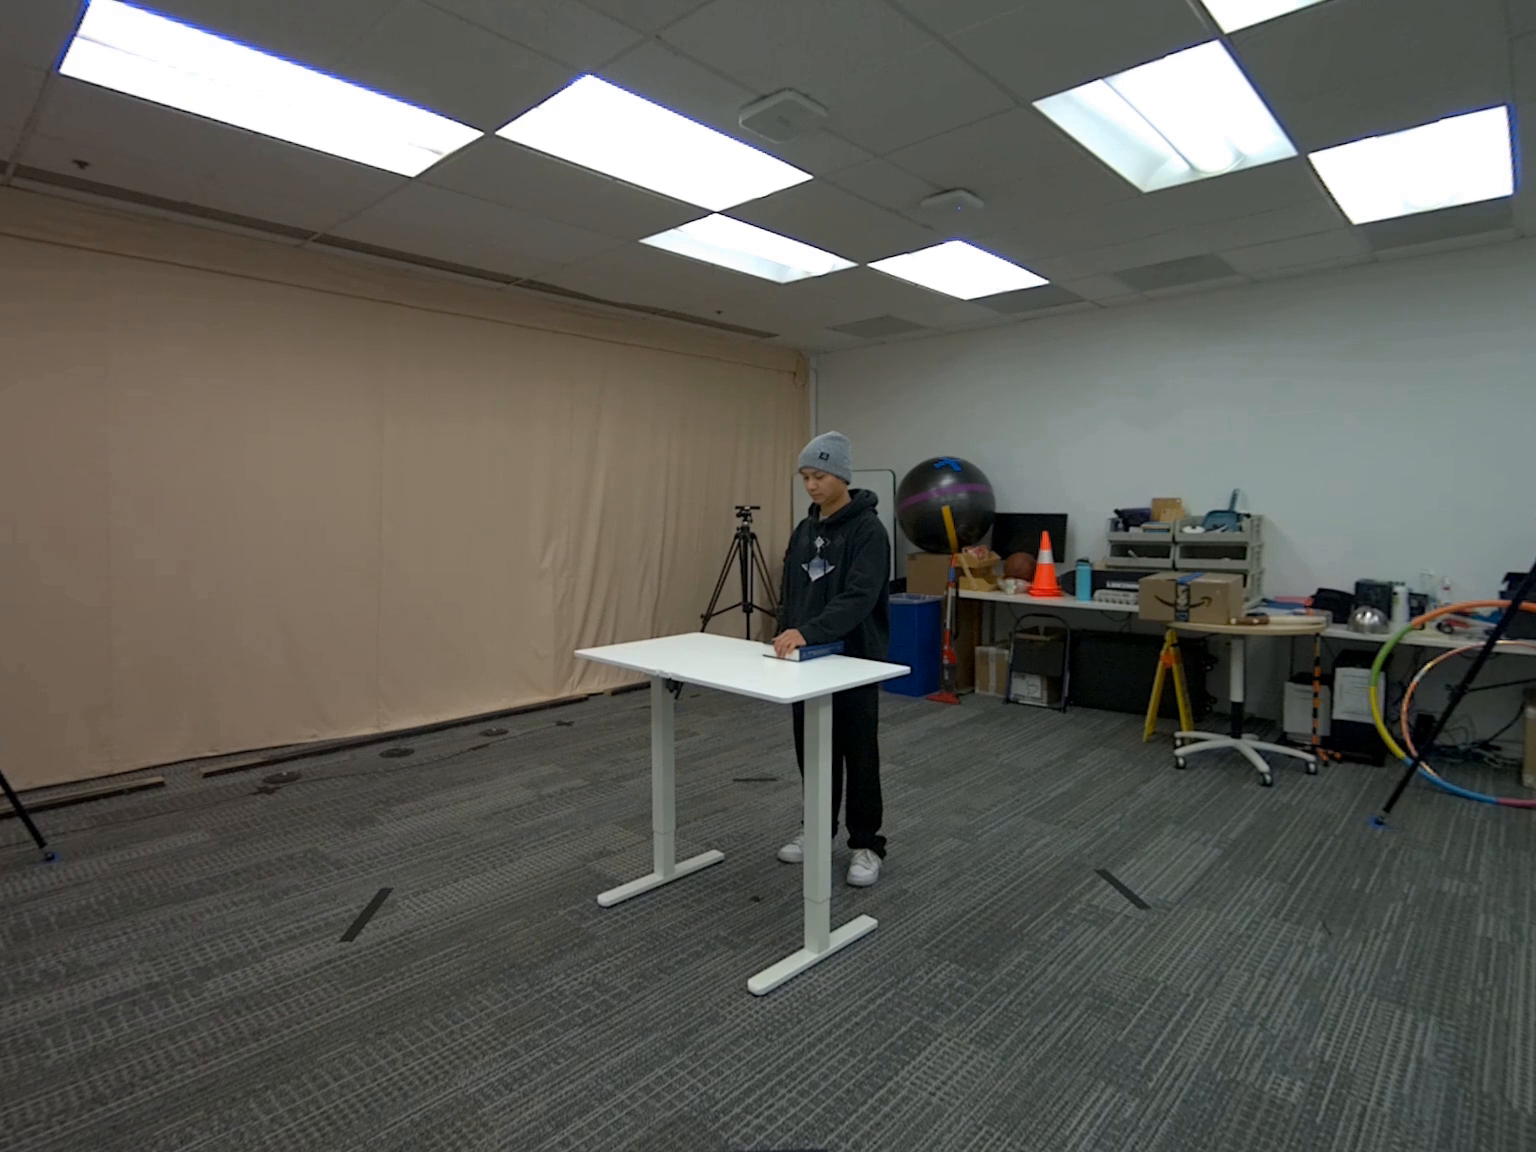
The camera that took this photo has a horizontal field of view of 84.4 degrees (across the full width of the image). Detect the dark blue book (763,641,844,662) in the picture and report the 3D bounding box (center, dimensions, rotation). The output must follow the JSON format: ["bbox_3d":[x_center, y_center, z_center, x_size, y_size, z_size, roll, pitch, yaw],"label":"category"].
[{"bbox_3d":[0.137,0.250,2.901,0.169,0.045,0.238,5,8,43],"label":"dark blue book"}]
